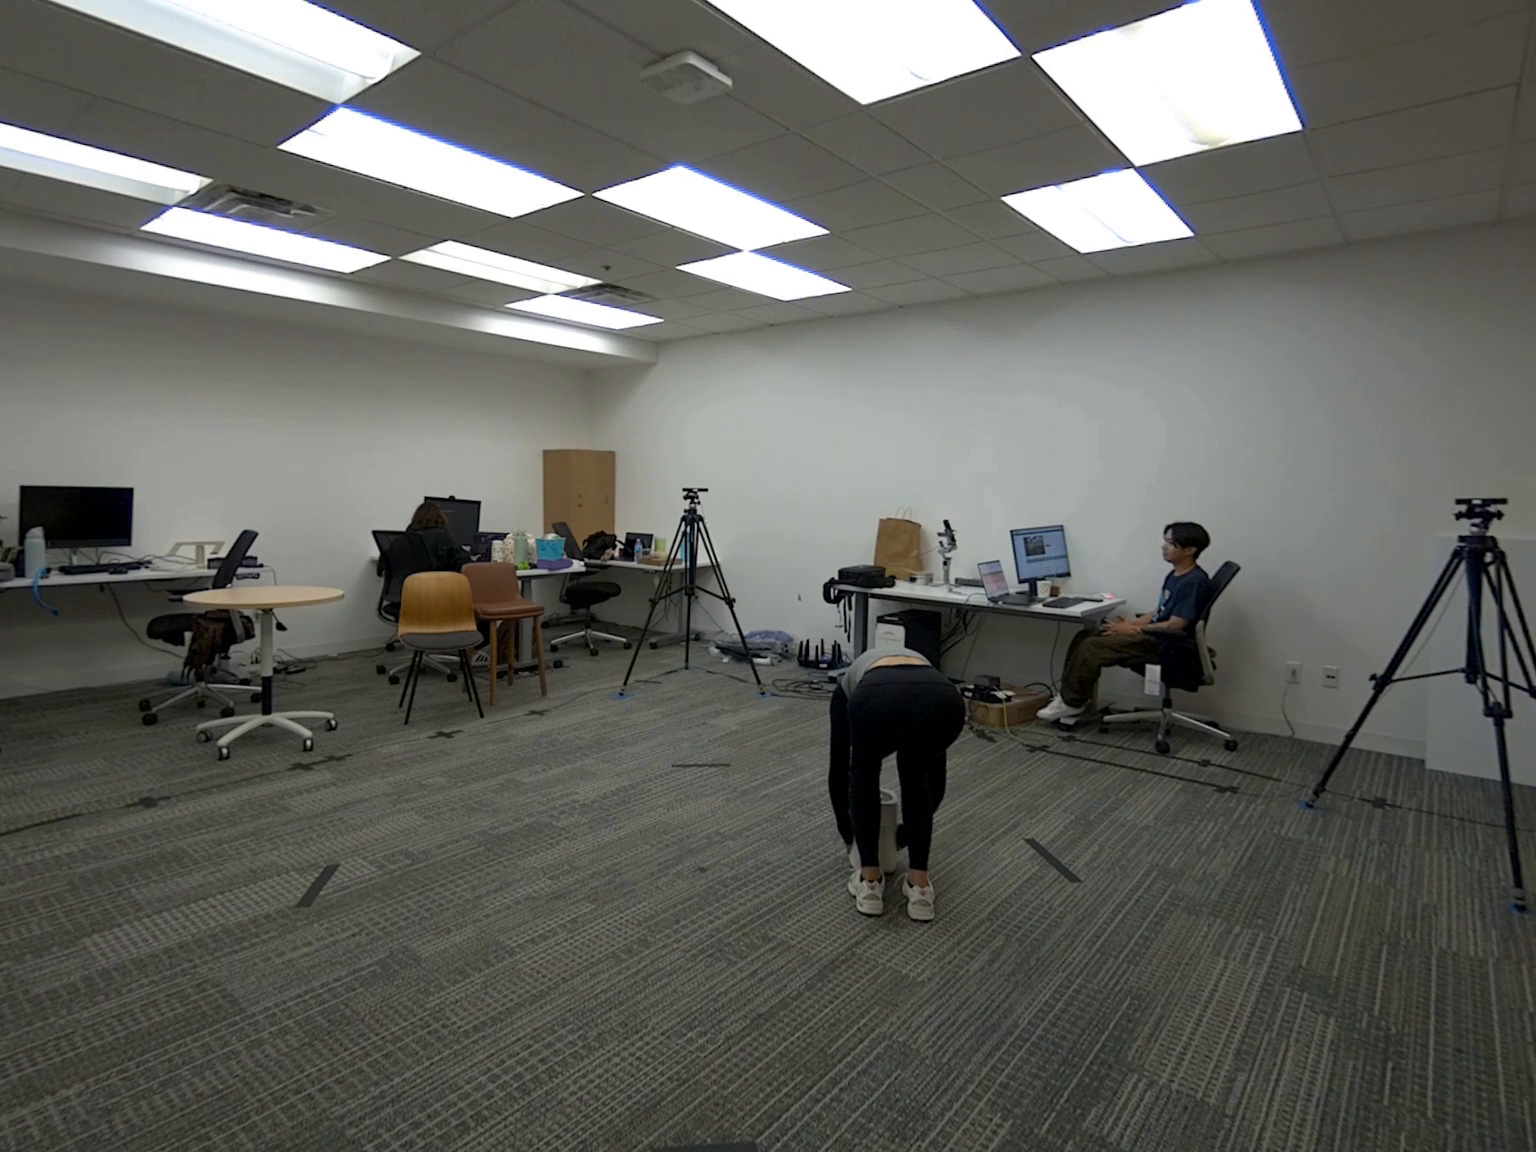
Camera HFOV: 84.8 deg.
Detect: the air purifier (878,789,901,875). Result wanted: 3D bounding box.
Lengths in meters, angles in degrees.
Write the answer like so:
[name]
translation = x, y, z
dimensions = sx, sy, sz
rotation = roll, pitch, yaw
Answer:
[air purifier]
translation = 0.388, 0.937, 3.162
dimensions = 0.172, 0.265, 0.171
rotation = 1, 2, 2
